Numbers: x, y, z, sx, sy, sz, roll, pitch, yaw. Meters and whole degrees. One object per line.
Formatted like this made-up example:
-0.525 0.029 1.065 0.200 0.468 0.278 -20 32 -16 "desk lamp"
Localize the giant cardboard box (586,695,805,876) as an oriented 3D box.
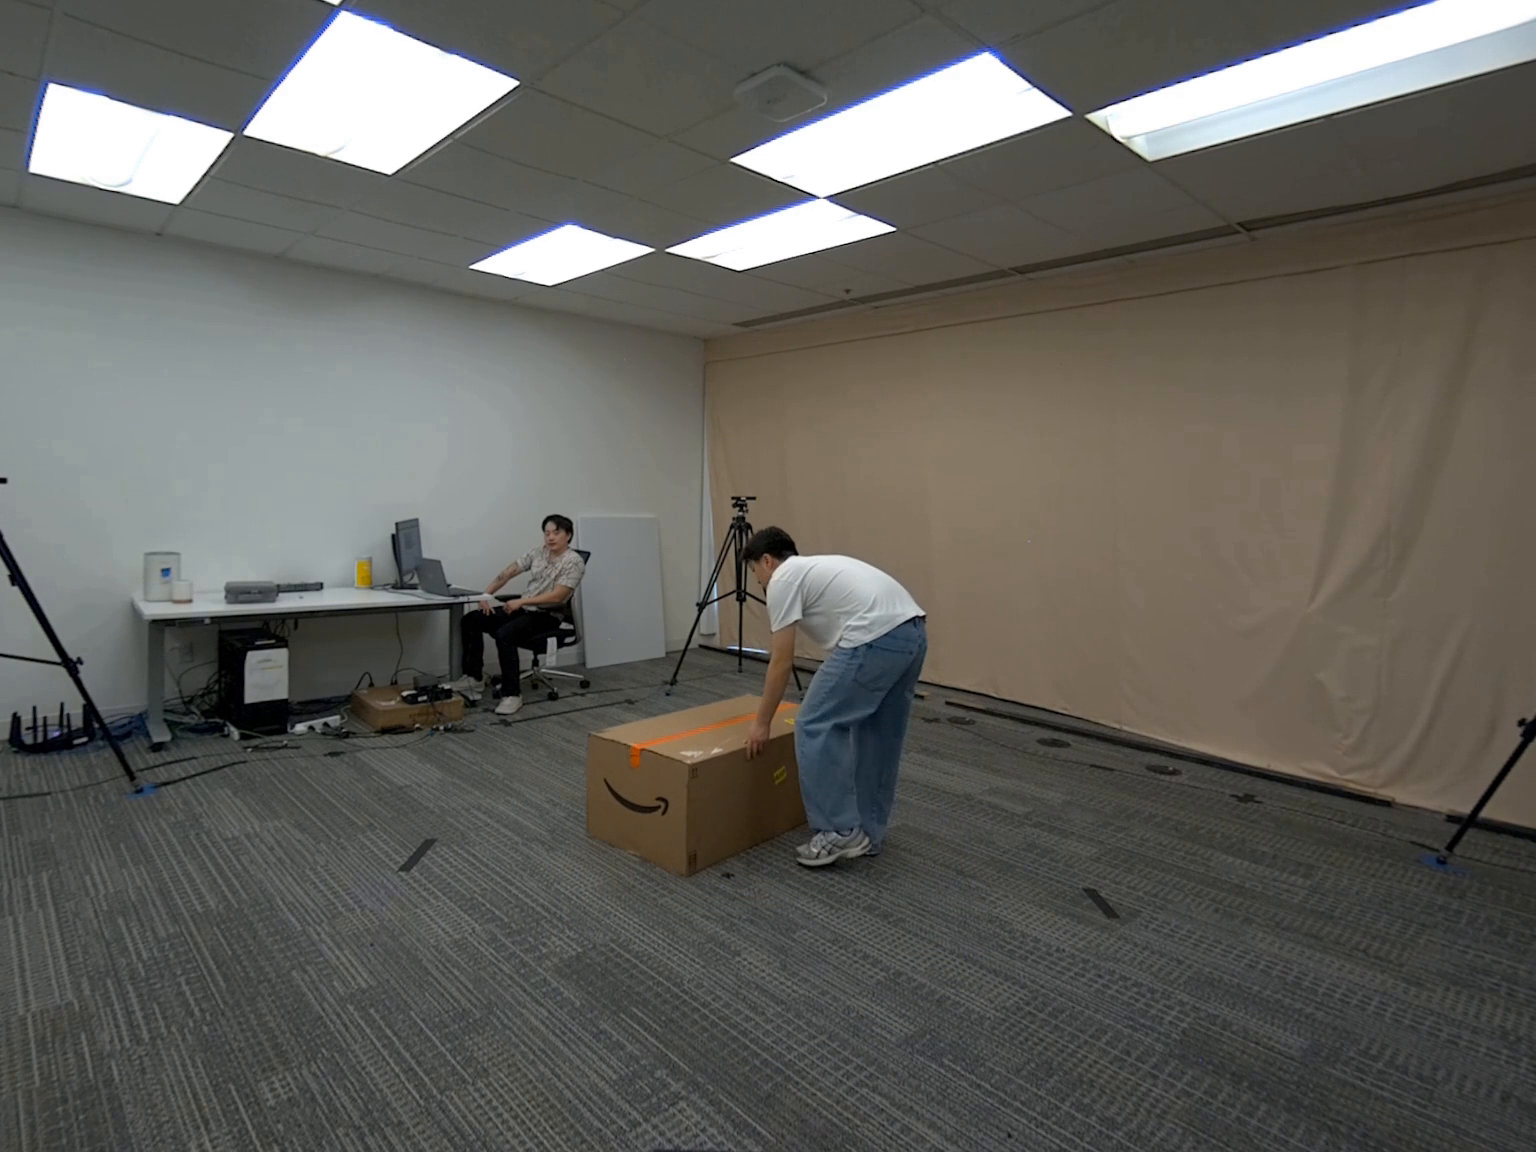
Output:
-0.205 0.844 3.633 0.592 0.425 1.003 6 6 39 "giant cardboard box"
